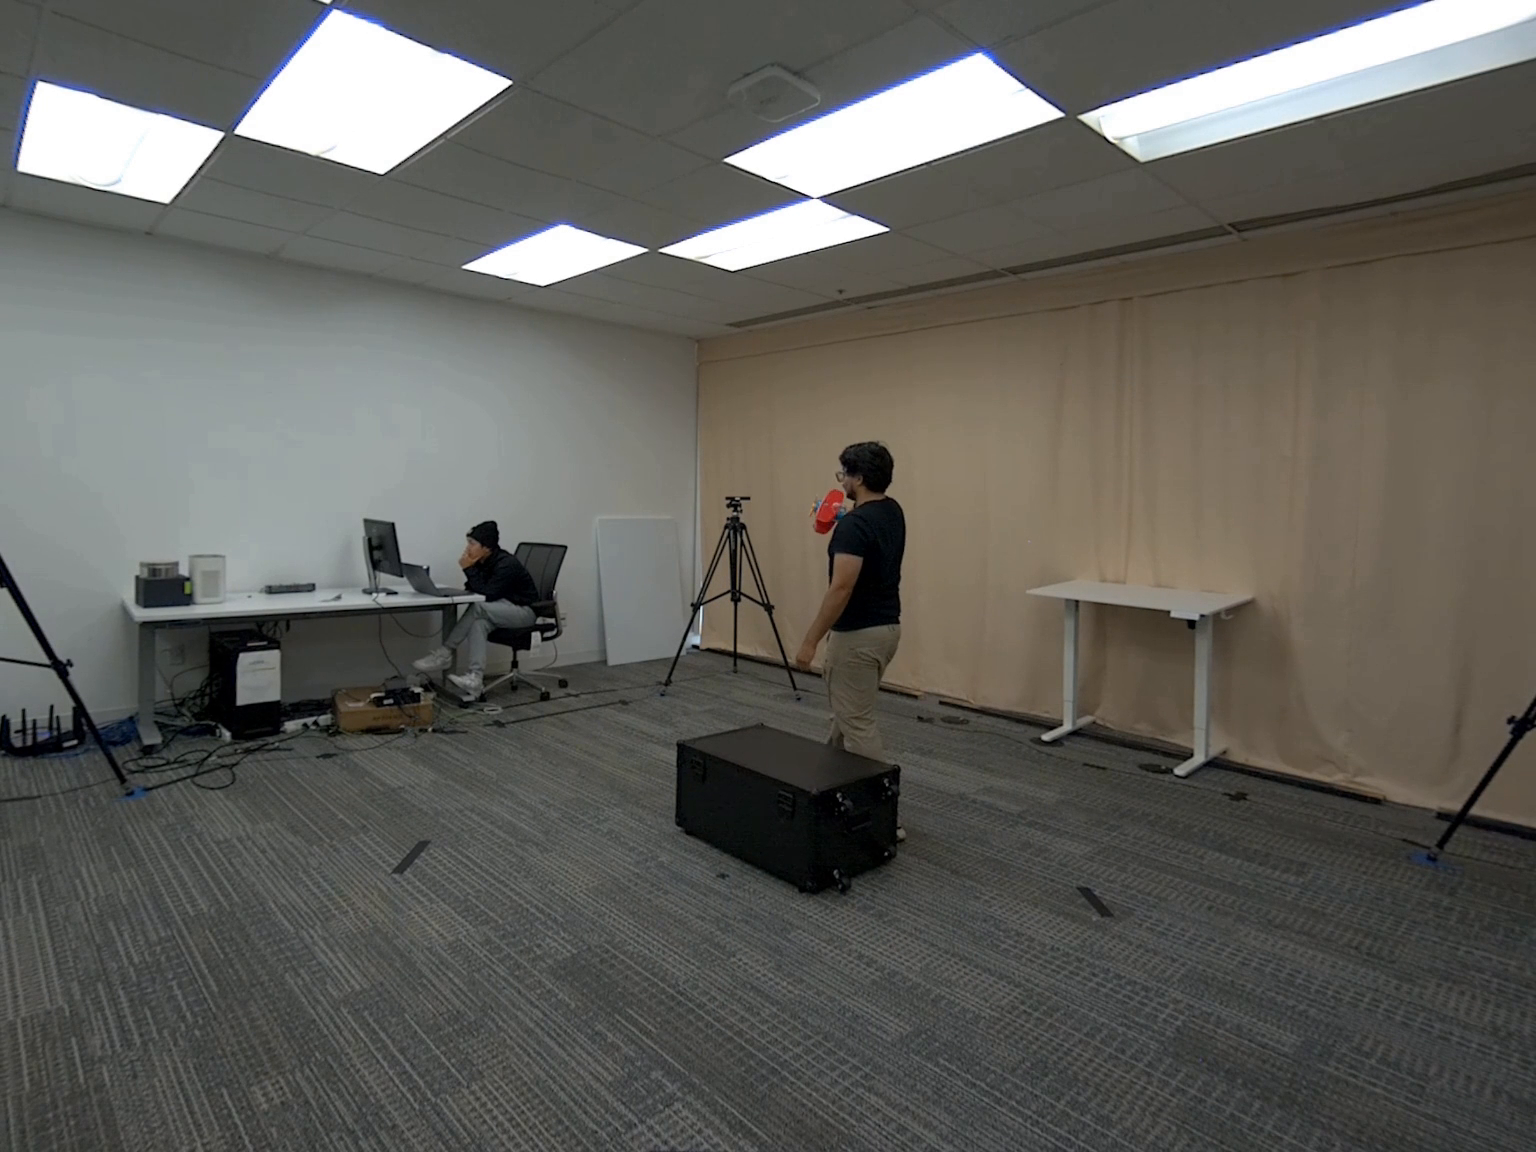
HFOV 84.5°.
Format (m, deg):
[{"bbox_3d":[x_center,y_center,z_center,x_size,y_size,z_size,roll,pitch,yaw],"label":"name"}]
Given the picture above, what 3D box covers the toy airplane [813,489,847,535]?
[{"bbox_3d":[0.342,-0.320,4.304,0.260,0.152,0.257,-10,41,5],"label":"toy airplane"}]
